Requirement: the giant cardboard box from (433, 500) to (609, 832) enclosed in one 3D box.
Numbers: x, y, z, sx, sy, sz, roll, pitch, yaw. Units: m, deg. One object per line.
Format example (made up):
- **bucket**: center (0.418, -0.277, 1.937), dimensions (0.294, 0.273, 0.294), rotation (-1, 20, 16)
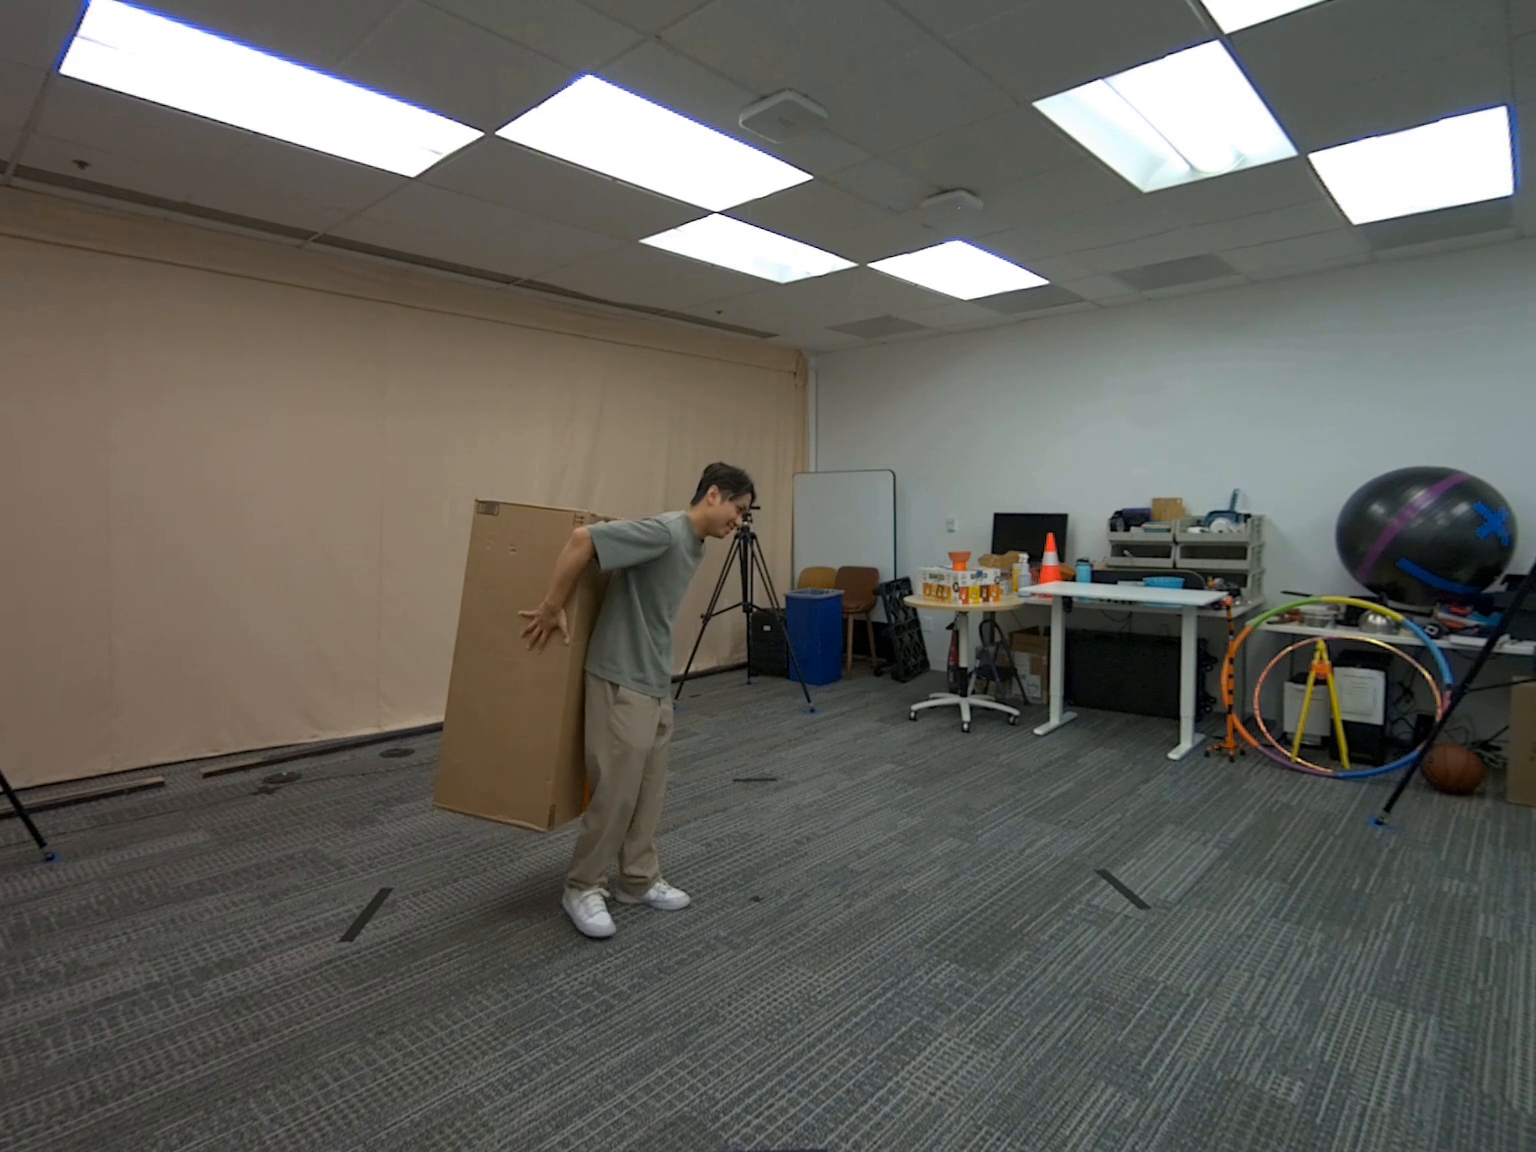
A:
- **giant cardboard box**: center (-0.779, 0.288, 2.977), dimensions (0.433, 1.026, 0.568), rotation (7, -1, 13)
